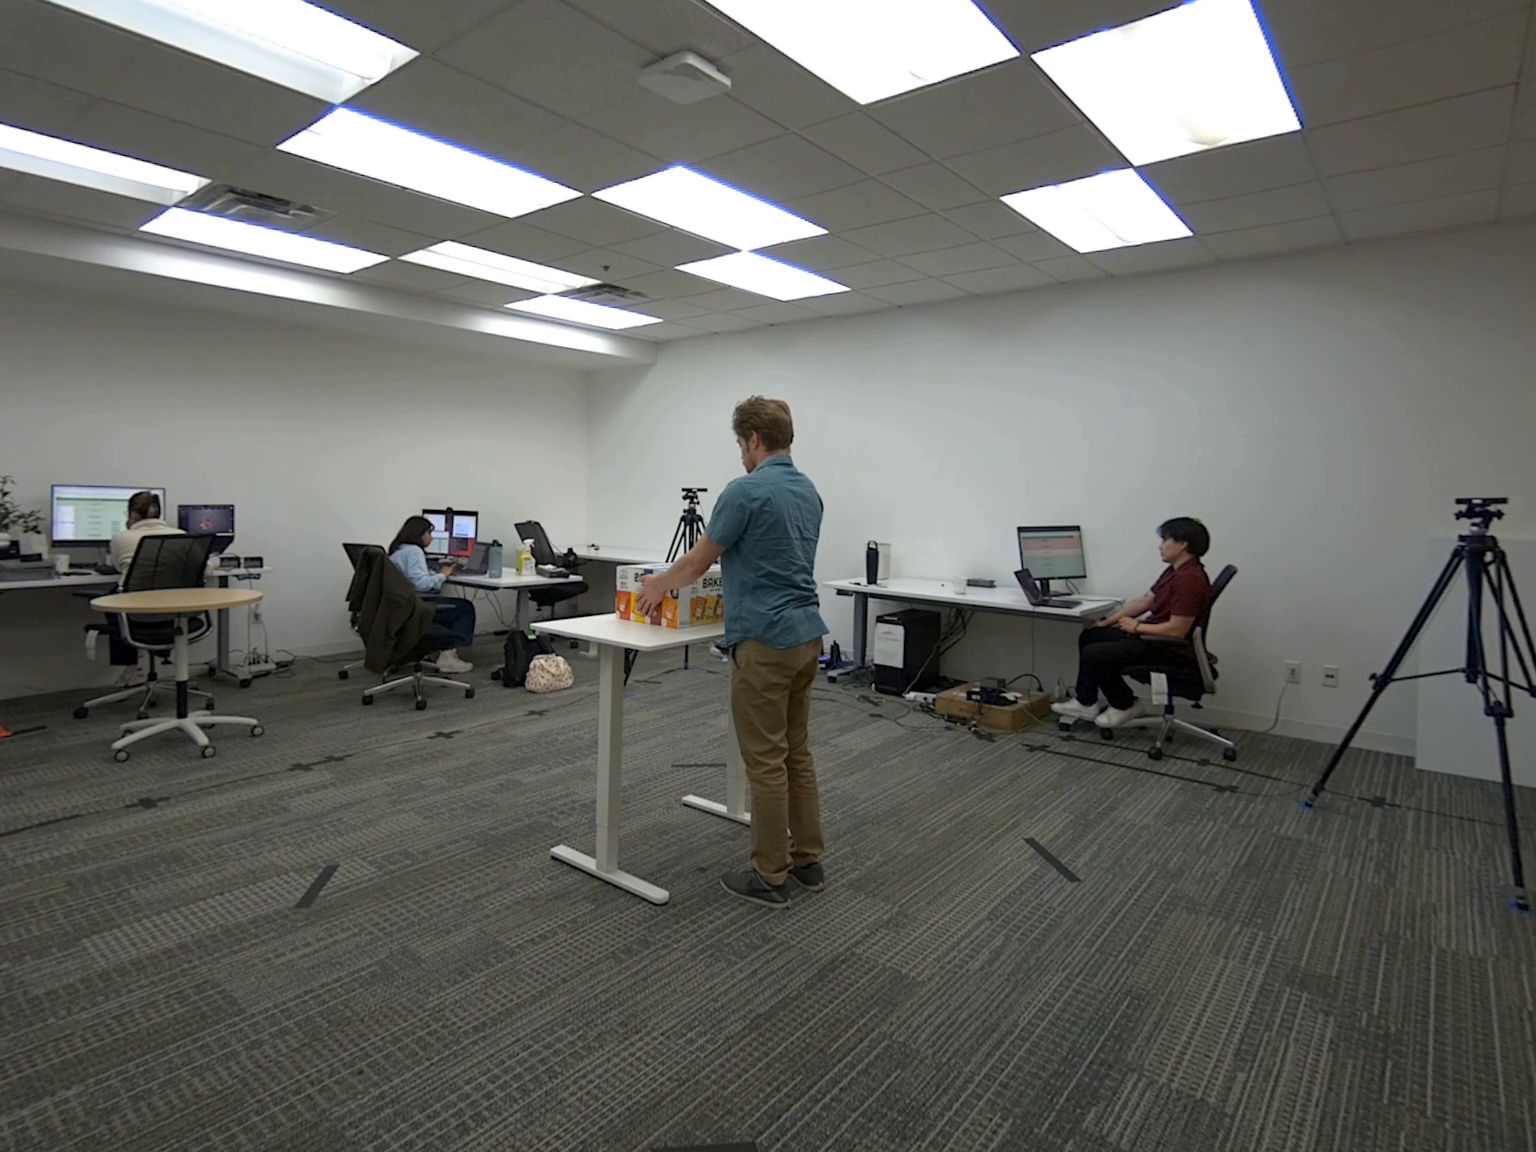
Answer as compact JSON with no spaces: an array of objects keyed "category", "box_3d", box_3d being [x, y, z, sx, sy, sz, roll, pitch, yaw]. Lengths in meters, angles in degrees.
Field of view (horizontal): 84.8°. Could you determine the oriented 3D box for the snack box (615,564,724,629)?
[{"category":"snack box","box_3d":[-0.343,0.062,3.325,0.352,0.205,0.393,6,7,39]}]
